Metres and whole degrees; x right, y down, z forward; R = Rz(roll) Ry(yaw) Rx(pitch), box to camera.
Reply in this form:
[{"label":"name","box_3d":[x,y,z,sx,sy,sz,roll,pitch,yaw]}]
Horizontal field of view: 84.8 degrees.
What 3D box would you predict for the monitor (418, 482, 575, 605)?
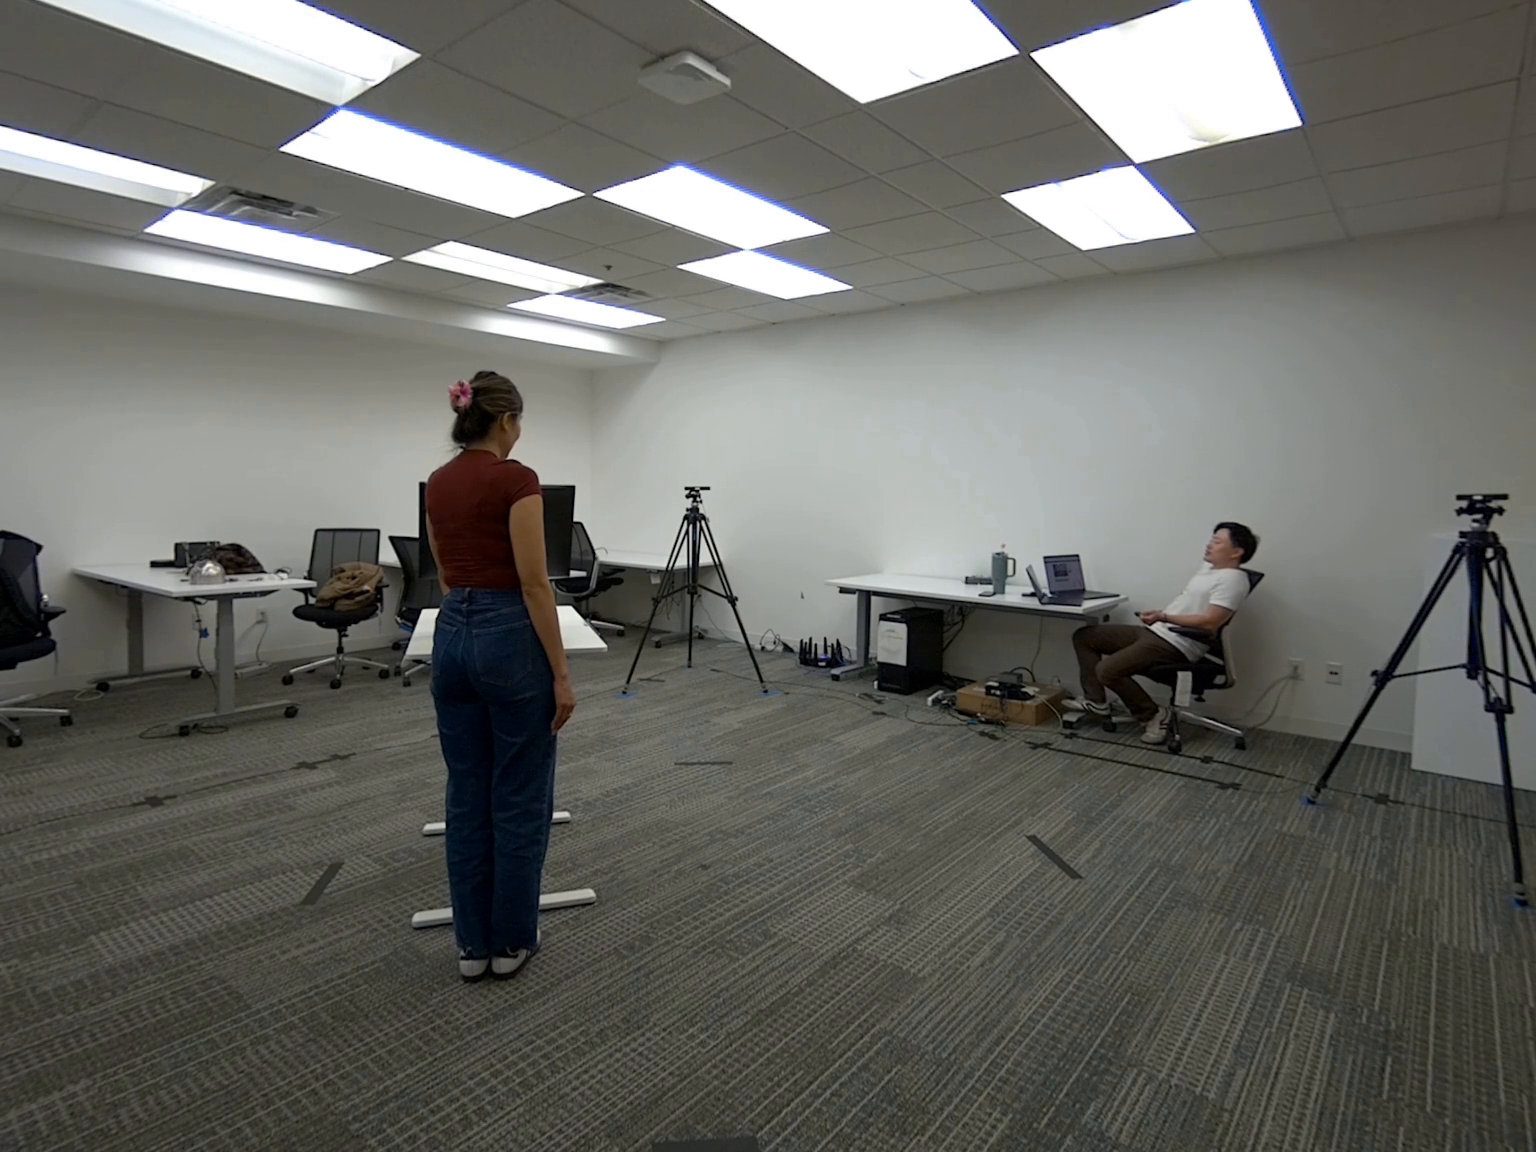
[{"label":"monitor","box_3d":[-0.966,-0.071,3.003,0.527,0.520,0.192,0,5,-22]}]
